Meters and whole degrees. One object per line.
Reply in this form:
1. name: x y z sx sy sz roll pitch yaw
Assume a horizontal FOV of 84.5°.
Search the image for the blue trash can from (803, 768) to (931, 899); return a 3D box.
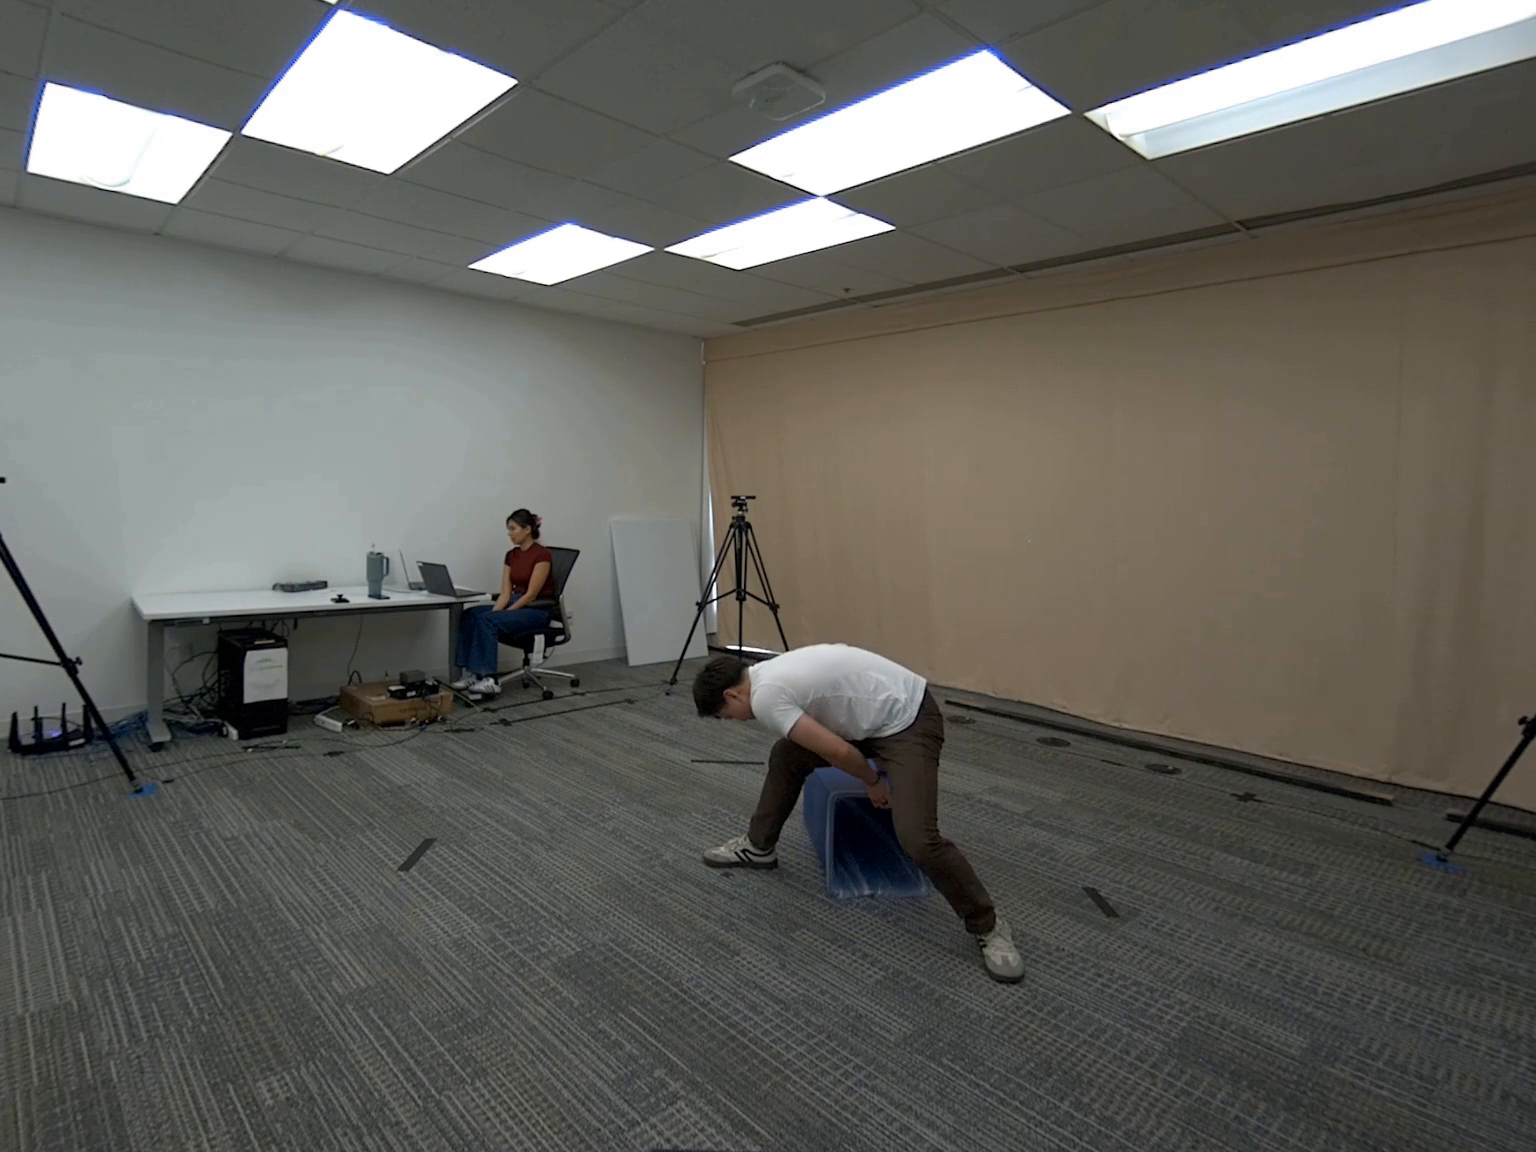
1. blue trash can: 0.334 0.922 3.311 0.372 0.377 0.718 0 3 -7
